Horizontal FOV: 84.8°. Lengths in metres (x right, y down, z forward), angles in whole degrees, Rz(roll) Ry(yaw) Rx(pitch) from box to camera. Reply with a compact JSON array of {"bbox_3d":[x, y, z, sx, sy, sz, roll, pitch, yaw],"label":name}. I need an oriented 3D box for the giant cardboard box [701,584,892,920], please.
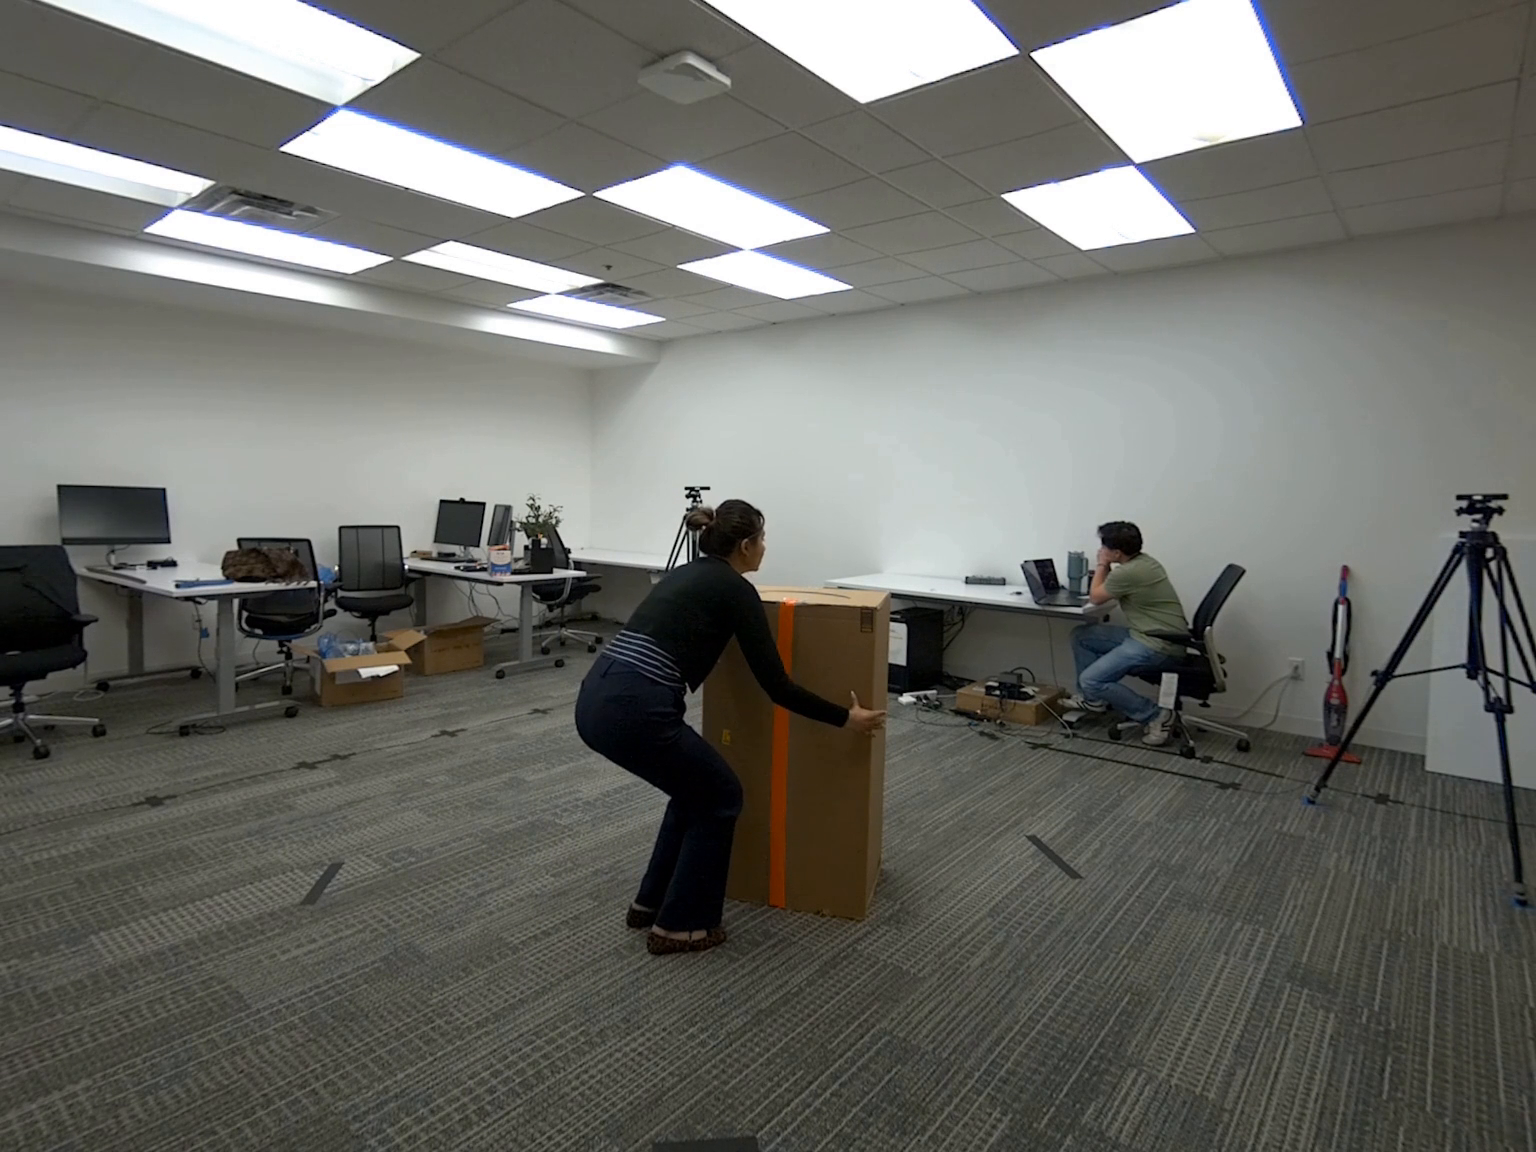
[{"bbox_3d":[0.097,0.570,3.001,0.589,1.022,0.420,2,4,17],"label":"giant cardboard box"}]
